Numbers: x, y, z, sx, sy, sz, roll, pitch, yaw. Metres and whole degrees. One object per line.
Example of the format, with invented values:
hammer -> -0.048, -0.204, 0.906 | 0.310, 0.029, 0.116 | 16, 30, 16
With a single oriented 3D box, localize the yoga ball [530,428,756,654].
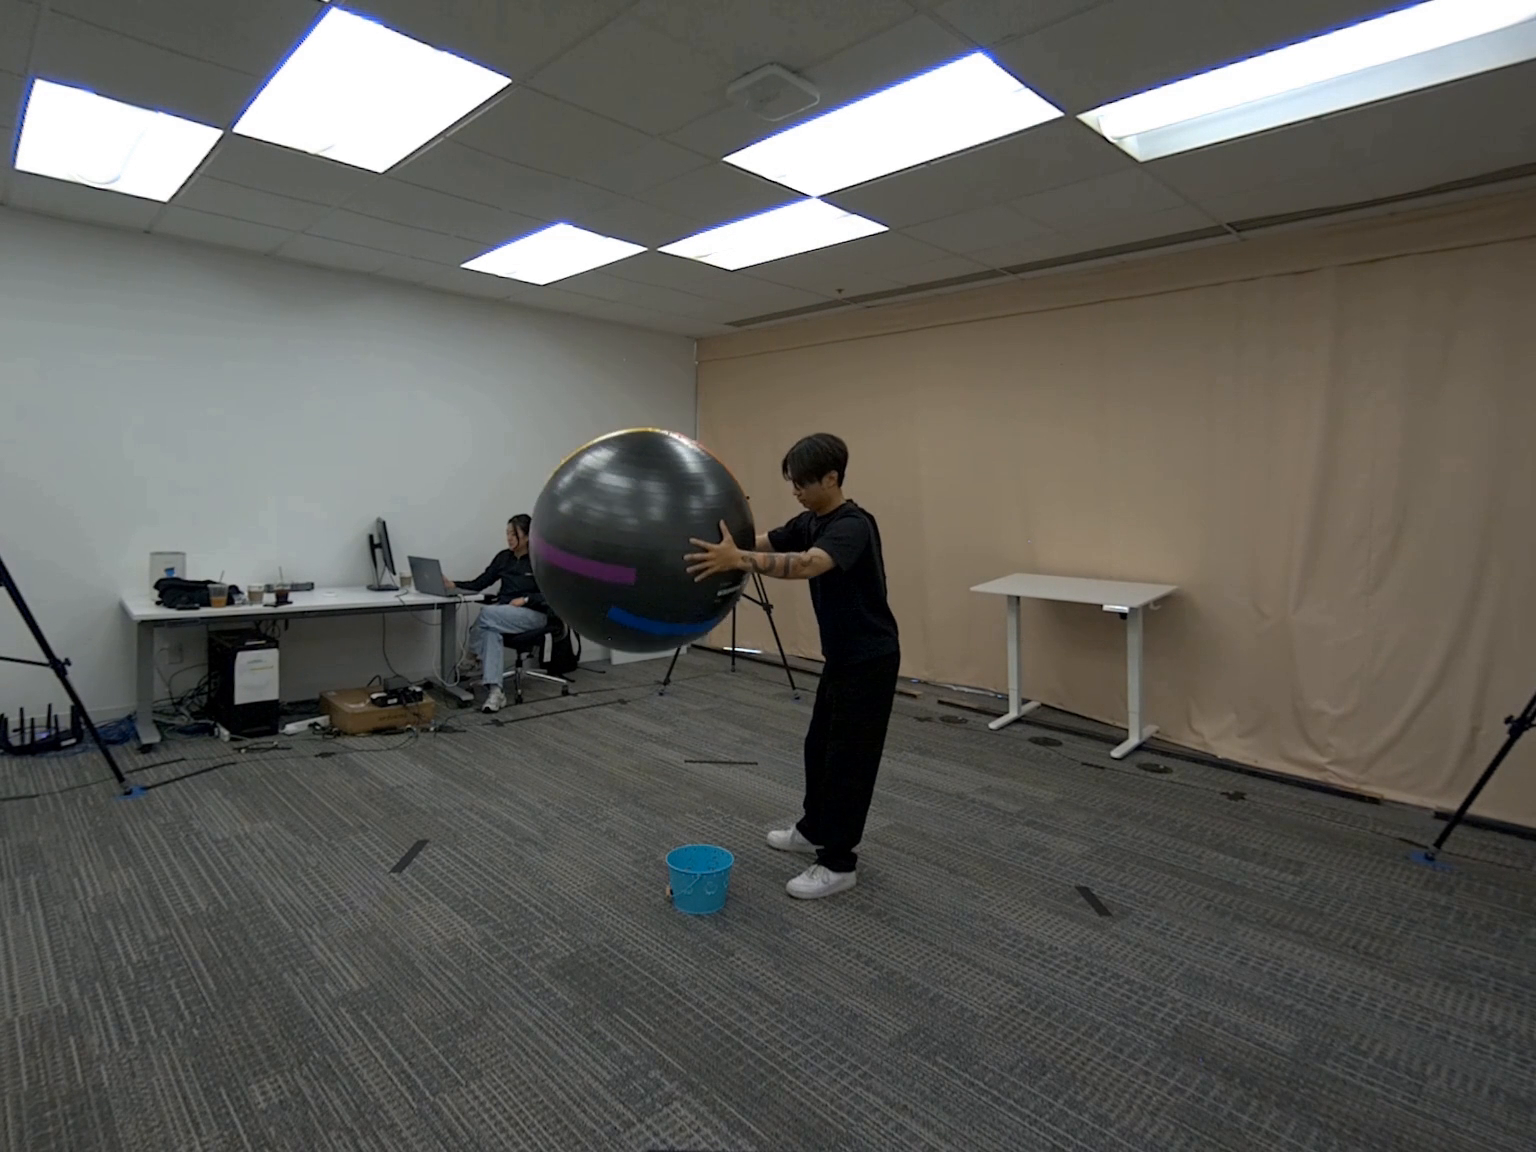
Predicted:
yoga ball -> -0.426, -0.115, 2.871 | 0.757, 0.756, 0.761 | 1, 4, -1
